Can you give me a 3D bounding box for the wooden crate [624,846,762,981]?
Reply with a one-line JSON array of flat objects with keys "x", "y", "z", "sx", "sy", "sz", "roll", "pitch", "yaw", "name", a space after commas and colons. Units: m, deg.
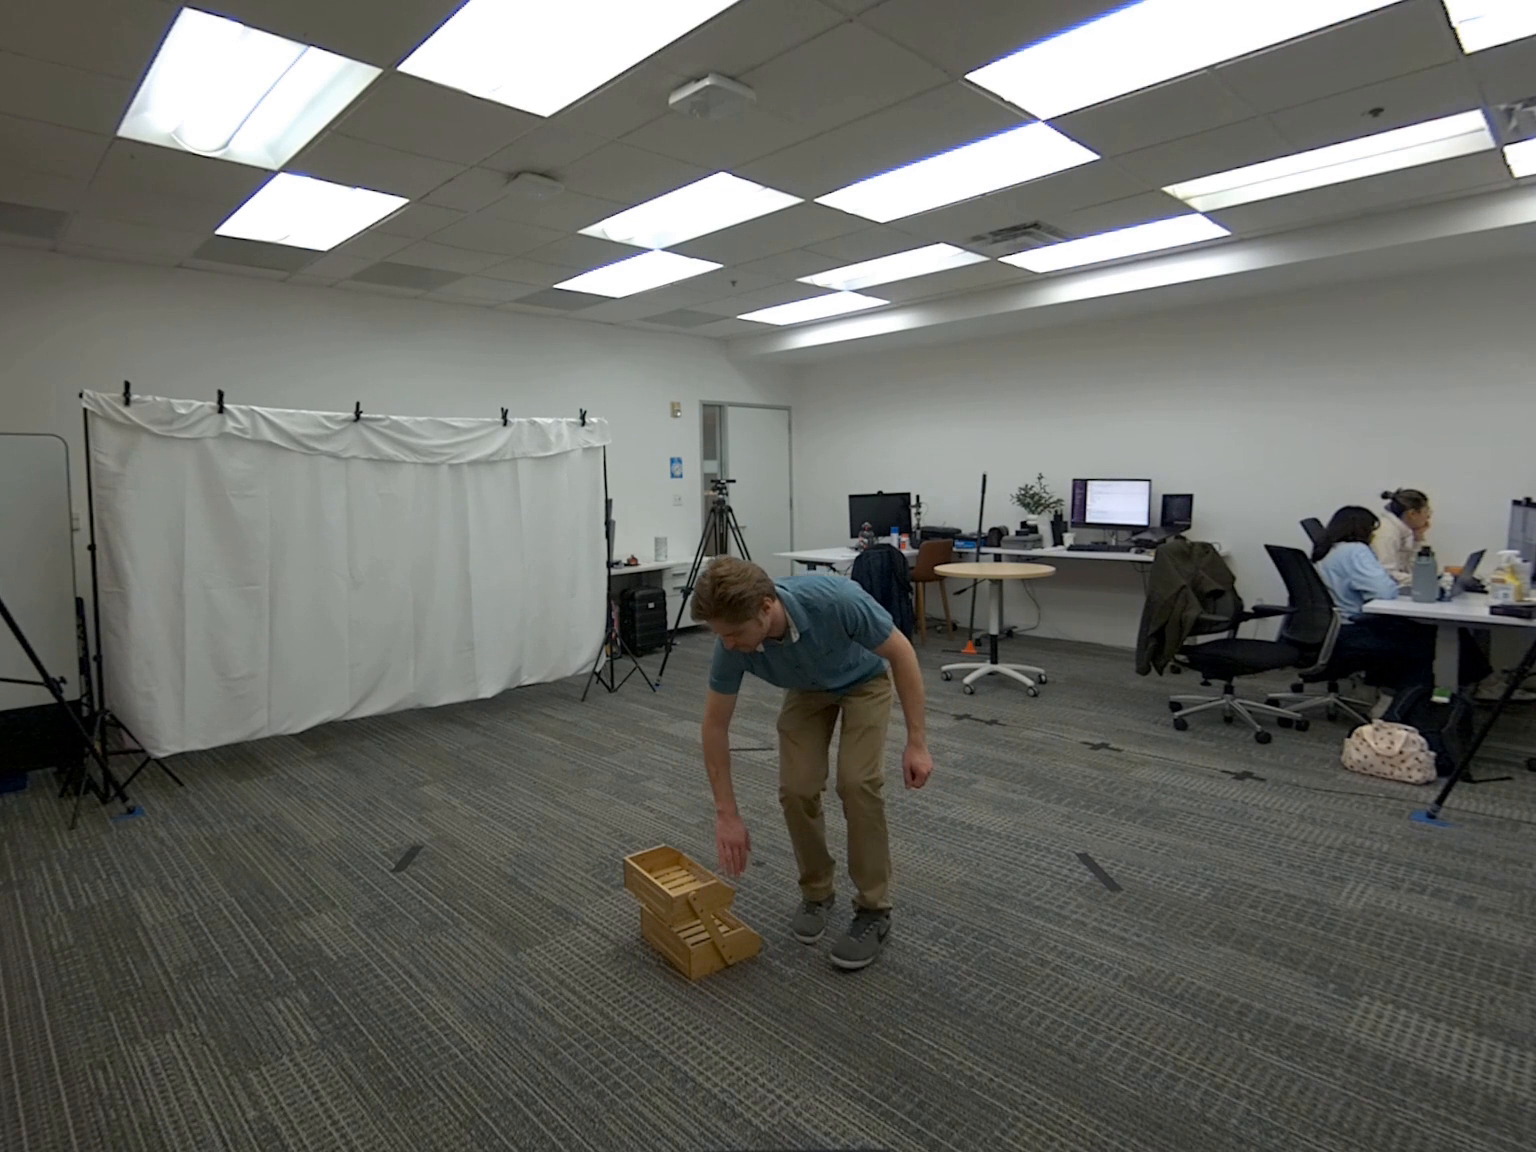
[{"x": -0.219, "y": 0.981, "z": 2.557, "sx": 0.295, "sy": 0.272, "sz": 0.334, "roll": -6, "pitch": 7, "yaw": -35, "name": "wooden crate"}]
